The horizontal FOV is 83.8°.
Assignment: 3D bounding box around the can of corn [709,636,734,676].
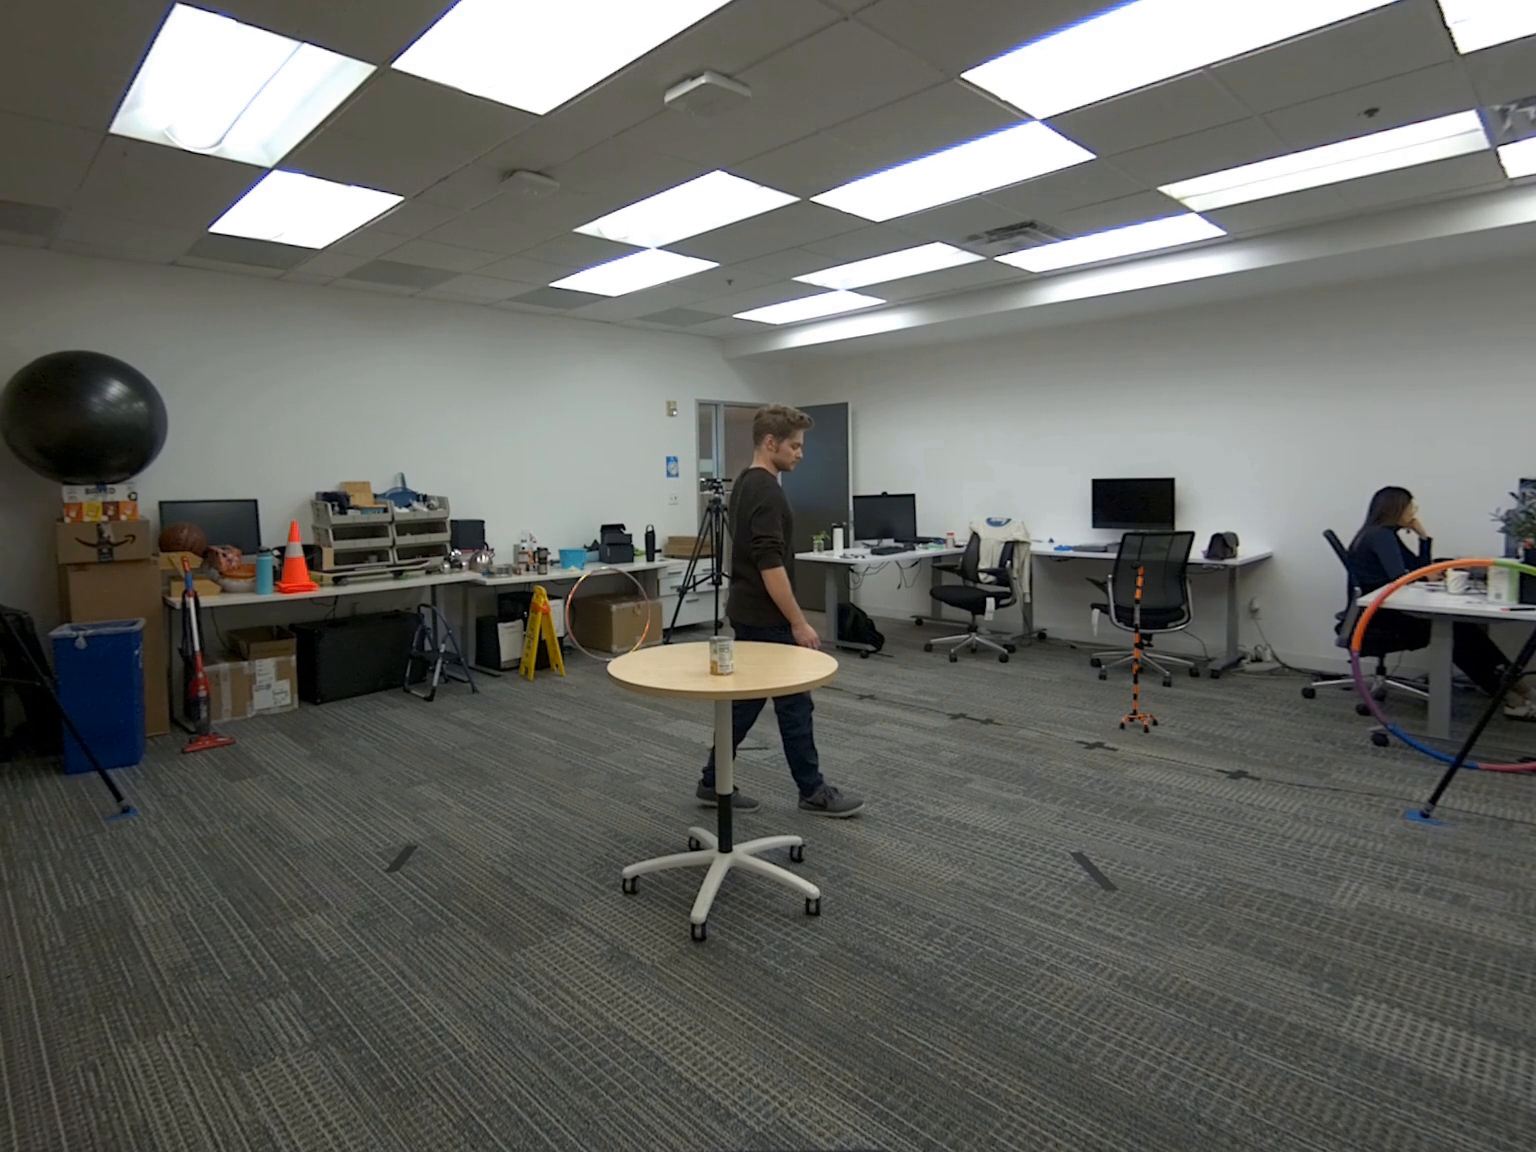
[{"bbox_3d":[-0.144,0.252,2.696,0.074,0.111,0.074,-2,3,-2],"label":"can of corn"}]
